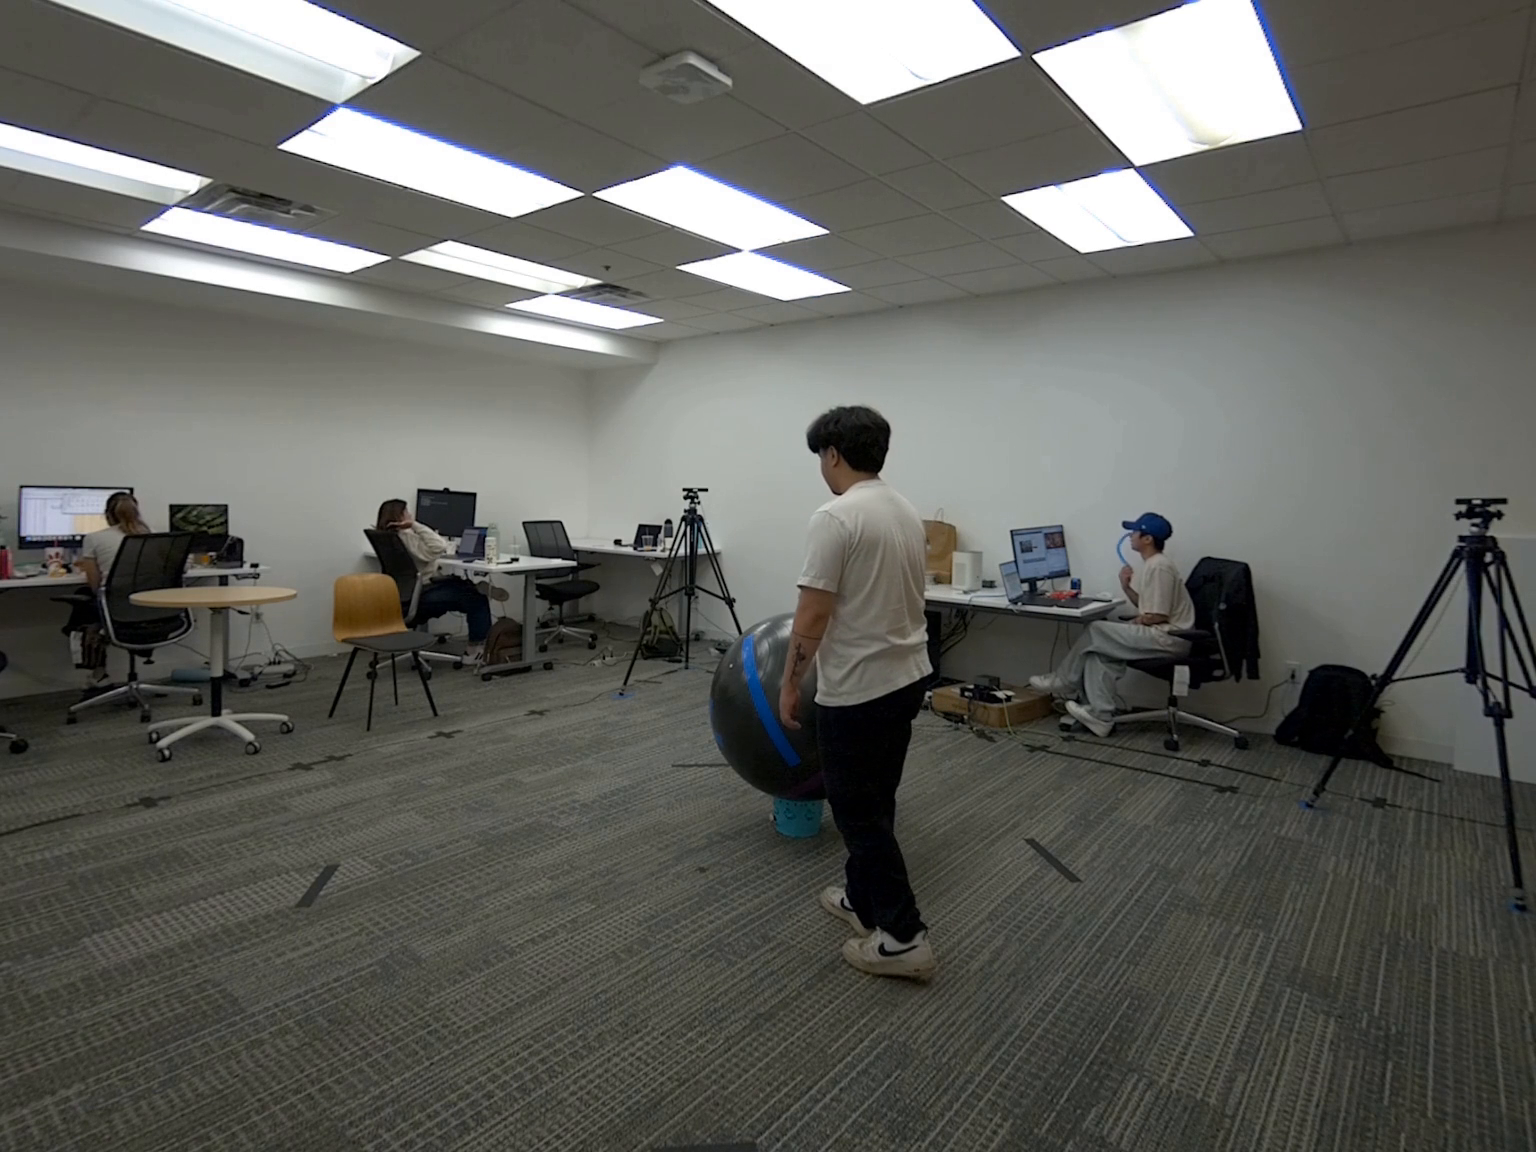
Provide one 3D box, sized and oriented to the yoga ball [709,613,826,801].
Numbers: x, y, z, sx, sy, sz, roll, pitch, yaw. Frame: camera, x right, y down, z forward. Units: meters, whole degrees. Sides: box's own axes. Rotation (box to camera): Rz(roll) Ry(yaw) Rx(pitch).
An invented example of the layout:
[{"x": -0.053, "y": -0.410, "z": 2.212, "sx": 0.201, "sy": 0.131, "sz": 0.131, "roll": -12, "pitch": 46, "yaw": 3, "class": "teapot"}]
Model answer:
[{"x": 0.127, "y": 0.529, "z": 3.486, "sx": 0.757, "sy": 0.755, "sz": 0.762, "roll": 1, "pitch": 4, "yaw": -2, "class": "yoga ball"}]
